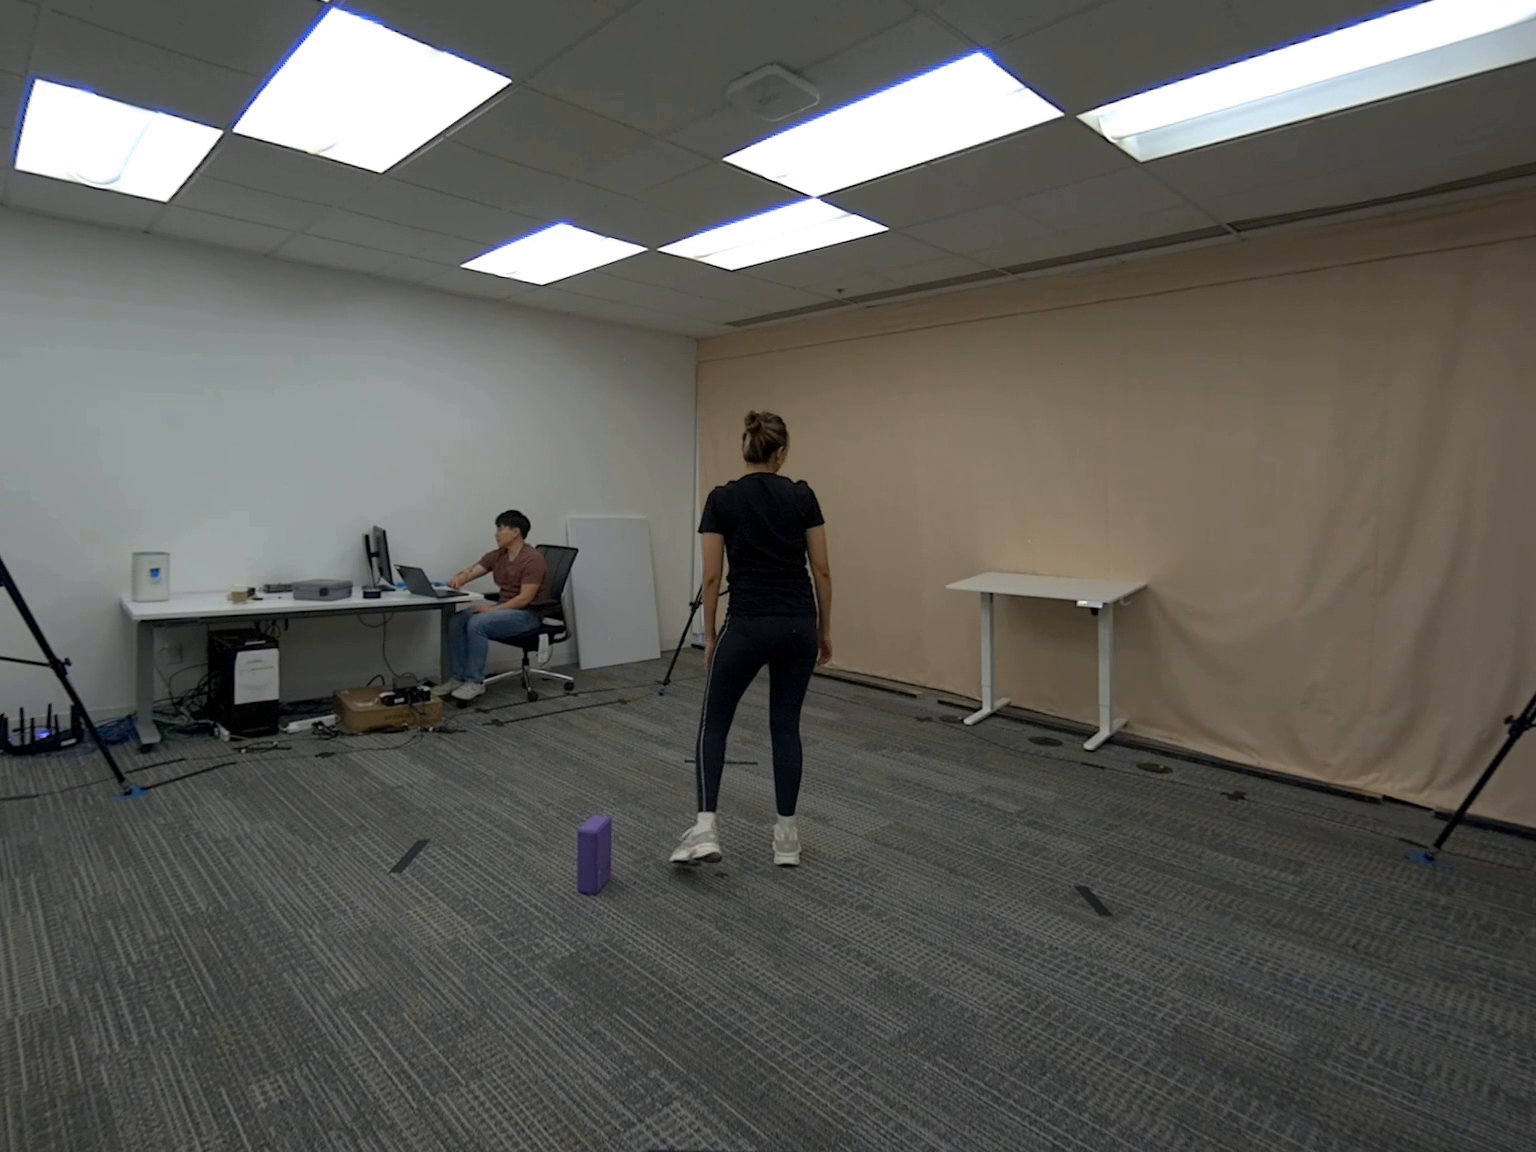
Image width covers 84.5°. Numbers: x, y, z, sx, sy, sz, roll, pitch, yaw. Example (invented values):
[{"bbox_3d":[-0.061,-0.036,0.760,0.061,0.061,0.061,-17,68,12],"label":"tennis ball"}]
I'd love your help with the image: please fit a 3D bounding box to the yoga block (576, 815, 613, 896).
[{"bbox_3d":[-0.621,0.990,2.983,0.077,0.228,0.148,2,5,10],"label":"yoga block"}]
